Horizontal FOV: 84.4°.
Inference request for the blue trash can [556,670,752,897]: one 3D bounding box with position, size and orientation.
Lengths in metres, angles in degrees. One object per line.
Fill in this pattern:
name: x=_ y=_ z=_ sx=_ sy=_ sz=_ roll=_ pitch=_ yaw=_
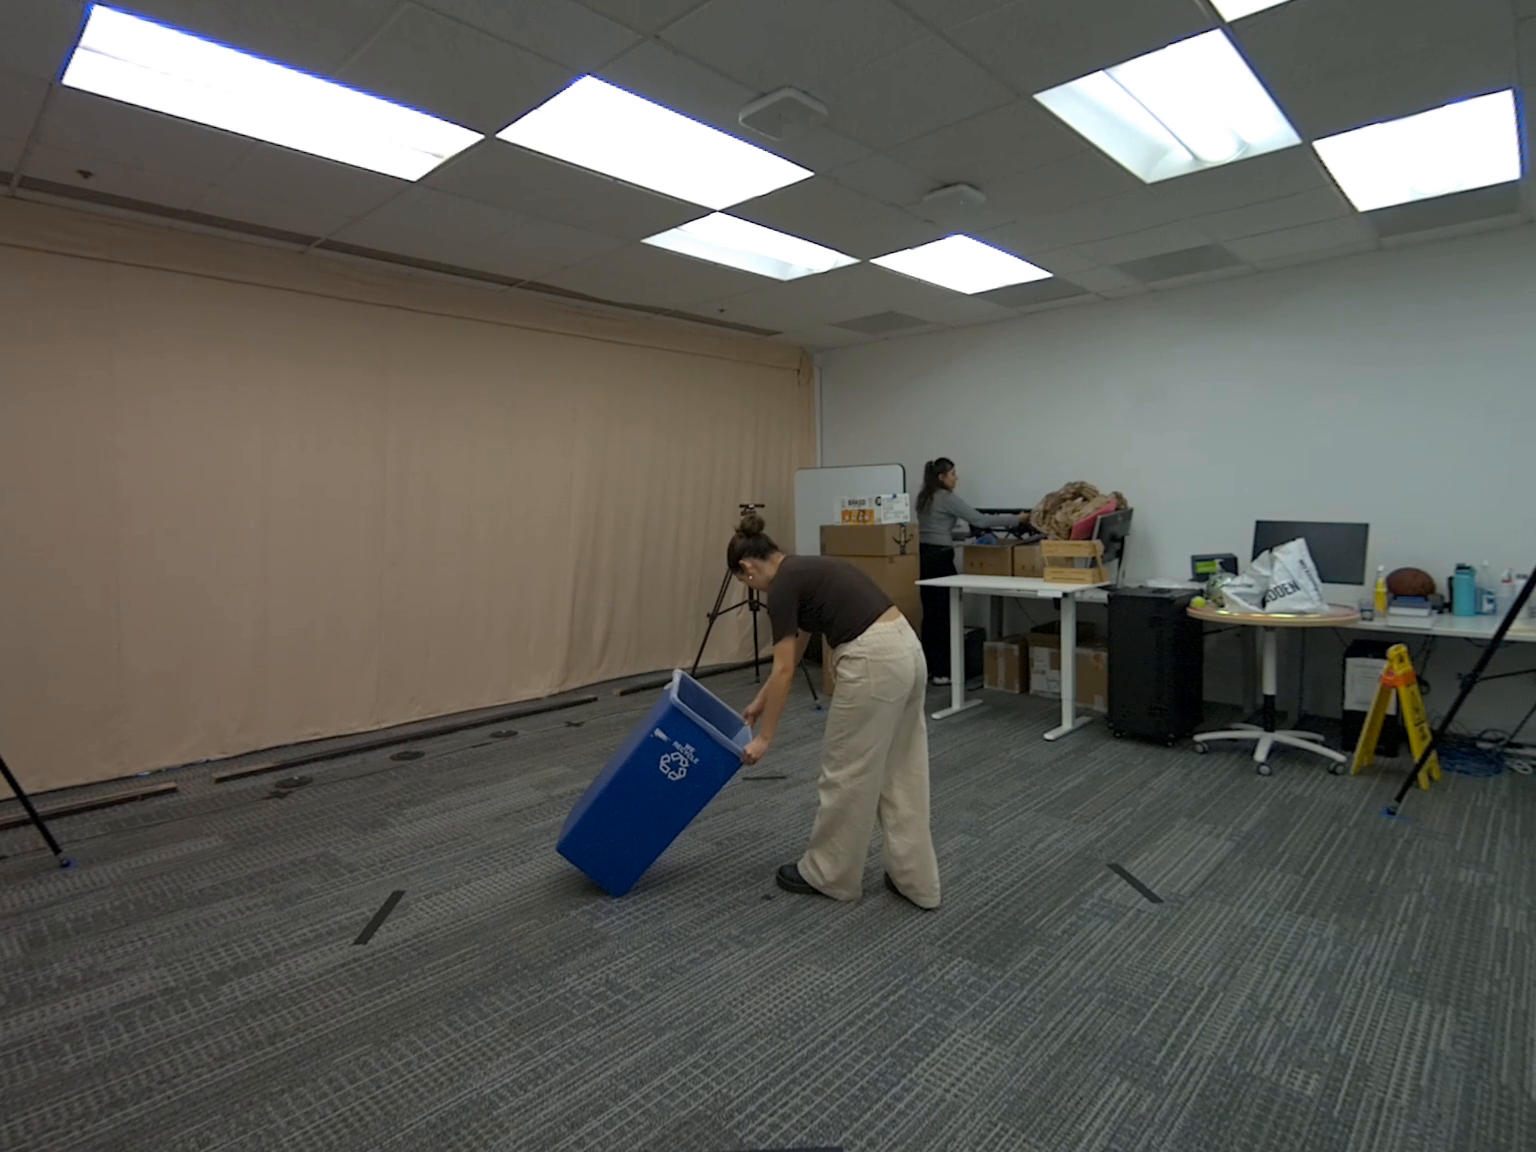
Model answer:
blue trash can: x=-0.411 y=0.770 z=3.105 sx=0.371 sy=0.714 sz=0.381 roll=38 pitch=7 yaw=-8
